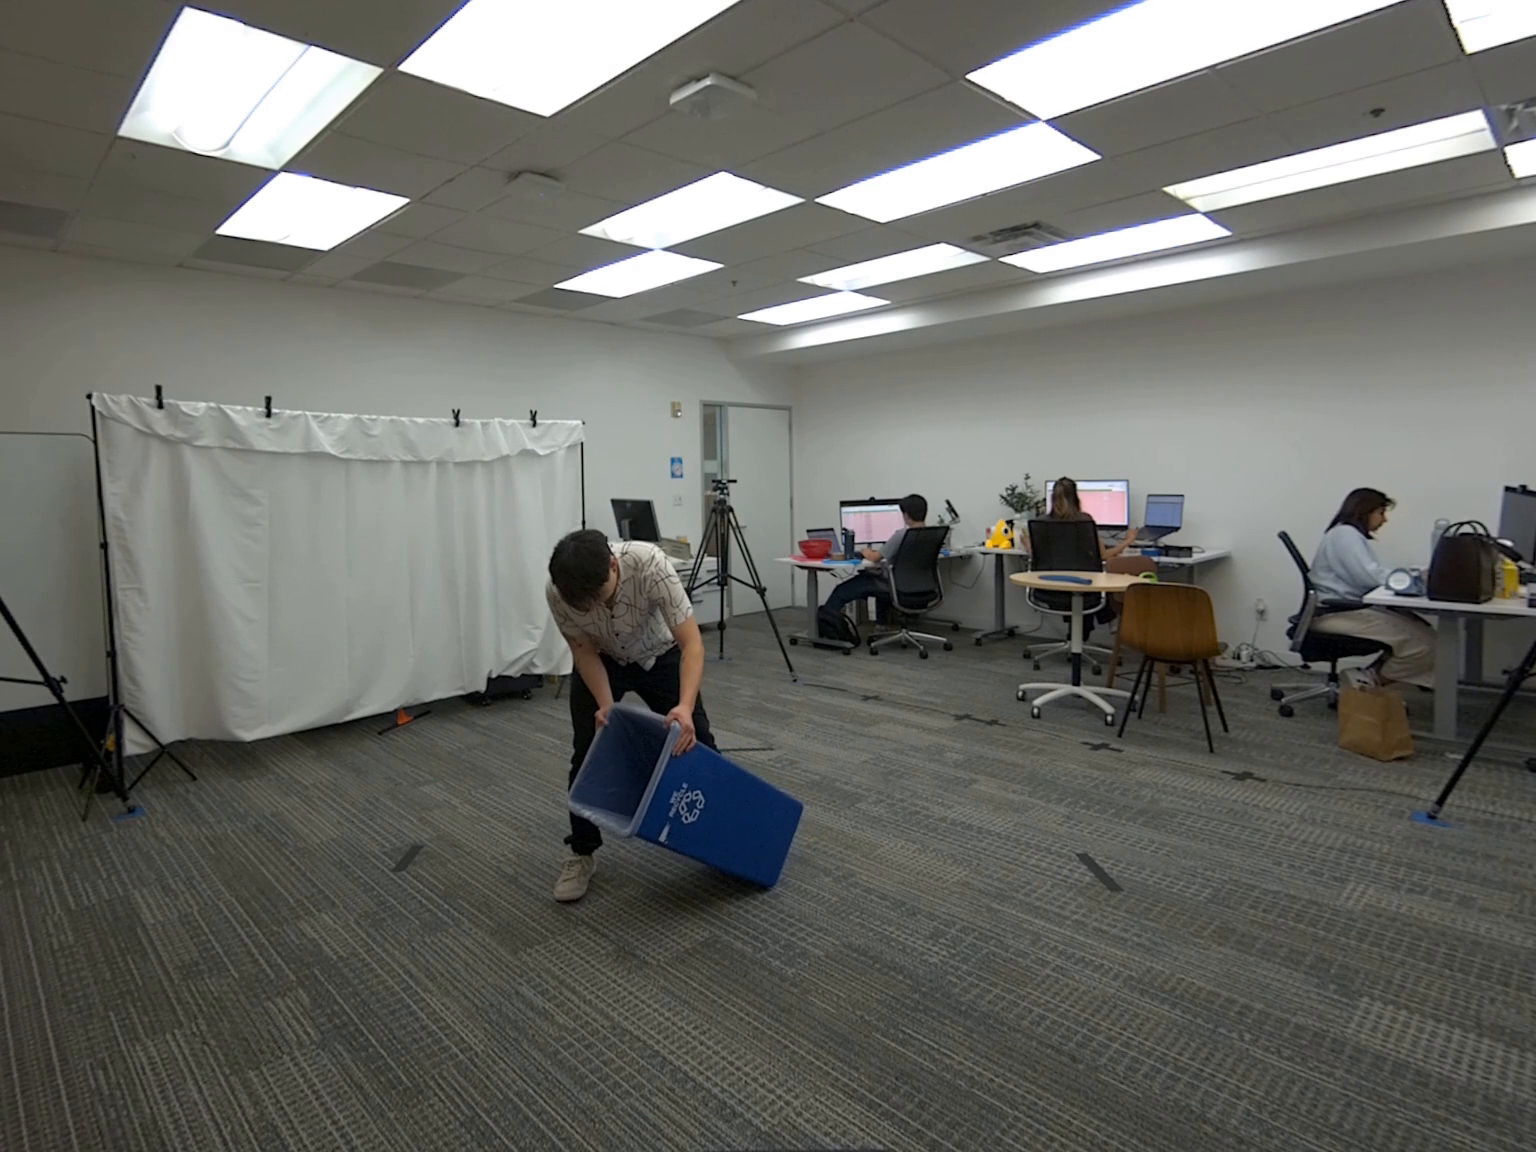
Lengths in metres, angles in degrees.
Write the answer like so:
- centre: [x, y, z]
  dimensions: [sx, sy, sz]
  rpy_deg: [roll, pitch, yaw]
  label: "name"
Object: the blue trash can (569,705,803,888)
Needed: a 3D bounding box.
- centre: [-0.236, 0.756, 2.861]
  dimensions: [0.385, 0.381, 0.687]
  rpy_deg: [2, -28, 48]
  label: "blue trash can"
